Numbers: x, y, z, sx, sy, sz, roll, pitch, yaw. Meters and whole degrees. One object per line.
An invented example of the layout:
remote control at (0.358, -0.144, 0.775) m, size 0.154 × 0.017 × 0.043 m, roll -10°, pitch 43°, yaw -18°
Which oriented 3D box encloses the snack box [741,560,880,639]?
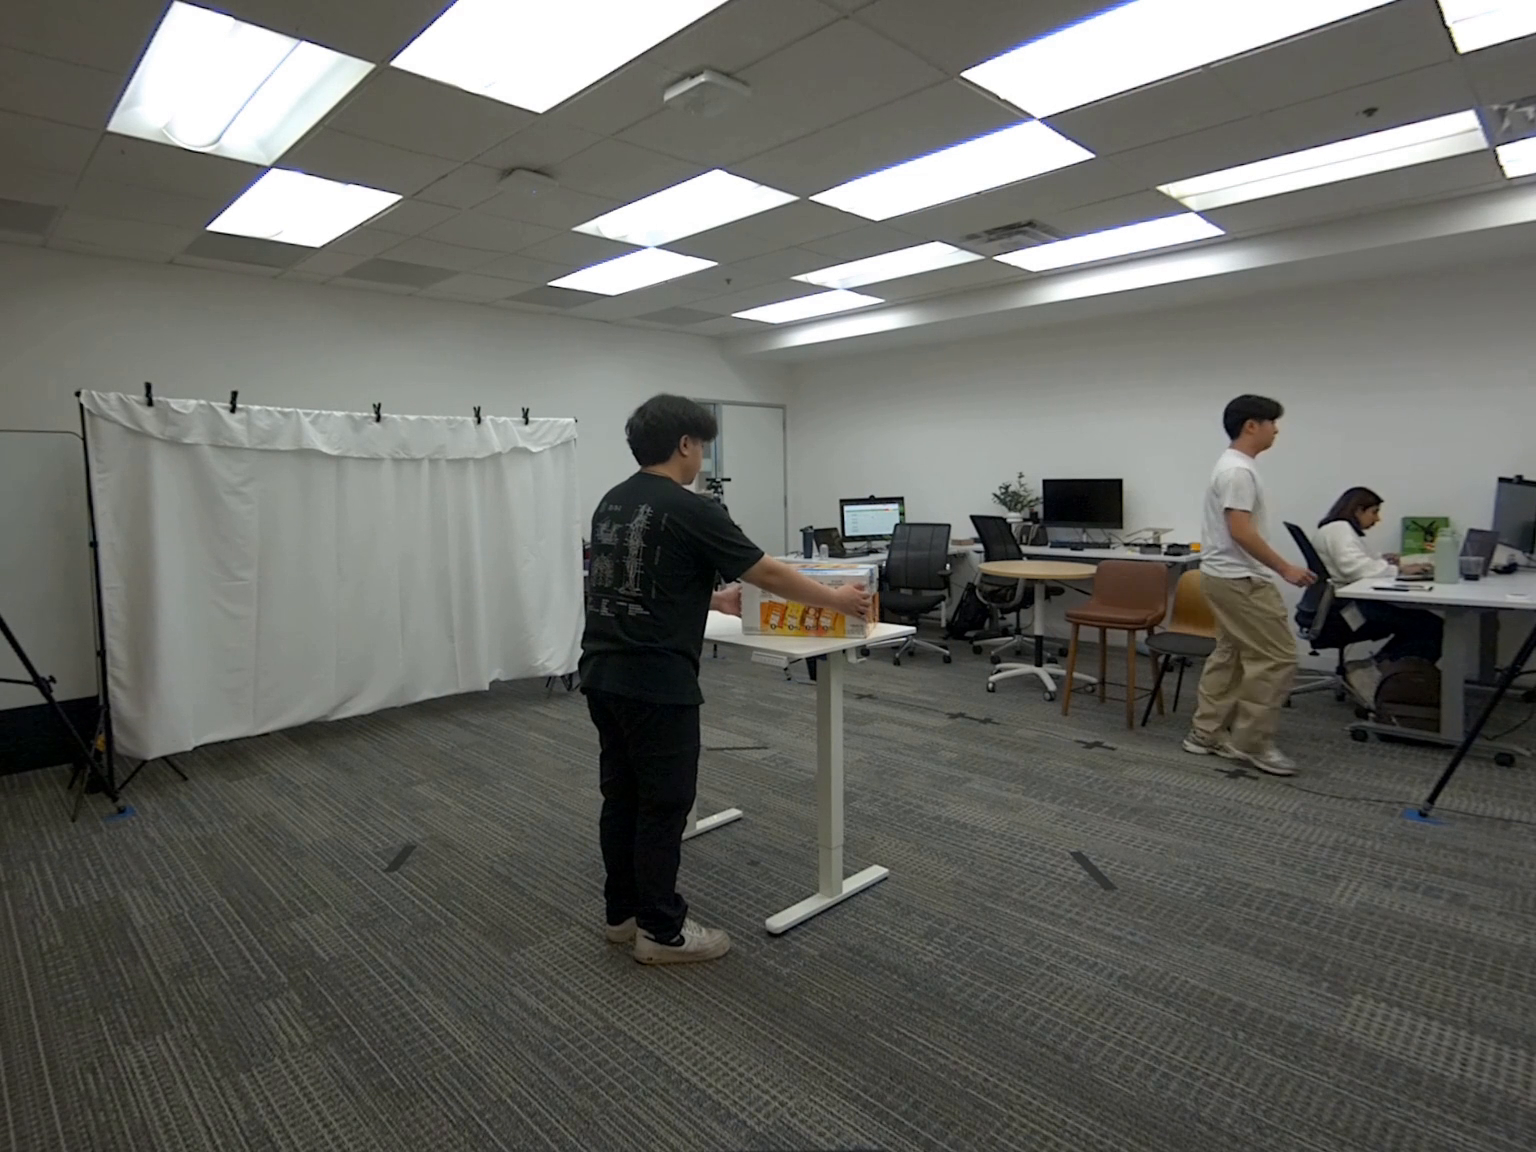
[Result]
snack box at (0.150, 0.075, 2.890) m, size 0.411 × 0.205 × 0.336 m, roll 0°, pitch 5°, yaw 16°
